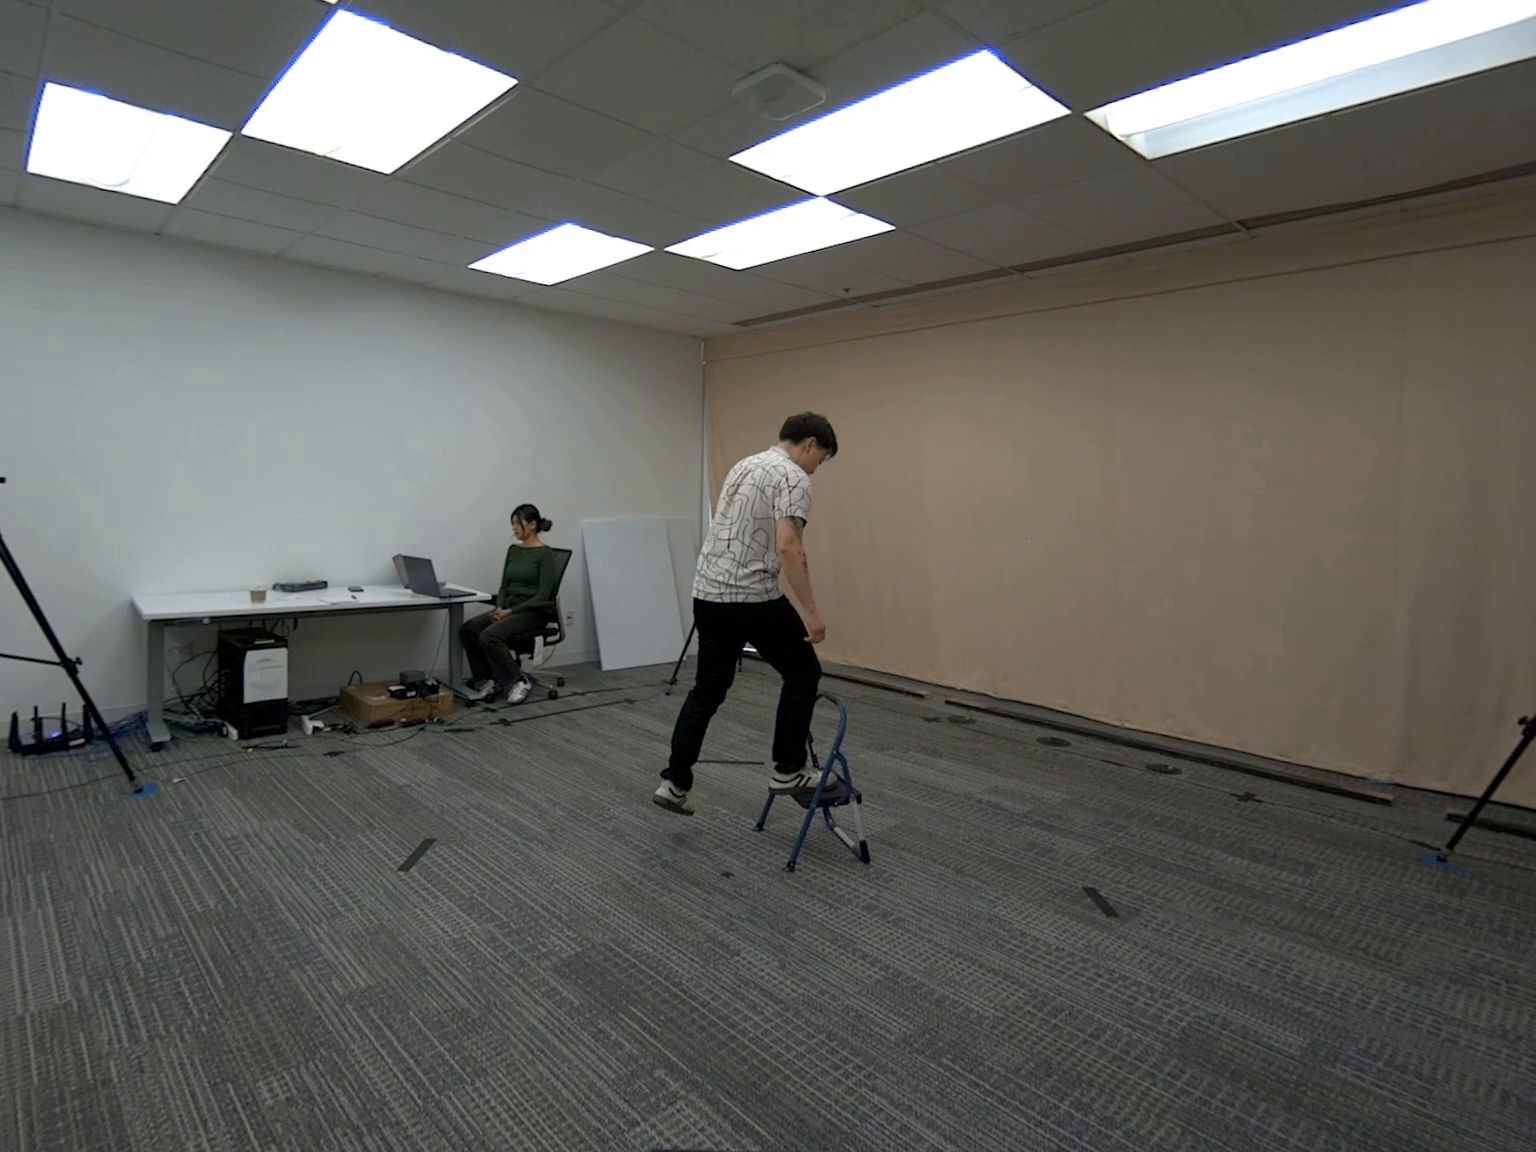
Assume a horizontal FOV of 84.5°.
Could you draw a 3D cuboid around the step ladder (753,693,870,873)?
[{"bbox_3d":[0.170,0.785,3.364,0.345,0.604,0.437,1,4,-17],"label":"step ladder"}]
